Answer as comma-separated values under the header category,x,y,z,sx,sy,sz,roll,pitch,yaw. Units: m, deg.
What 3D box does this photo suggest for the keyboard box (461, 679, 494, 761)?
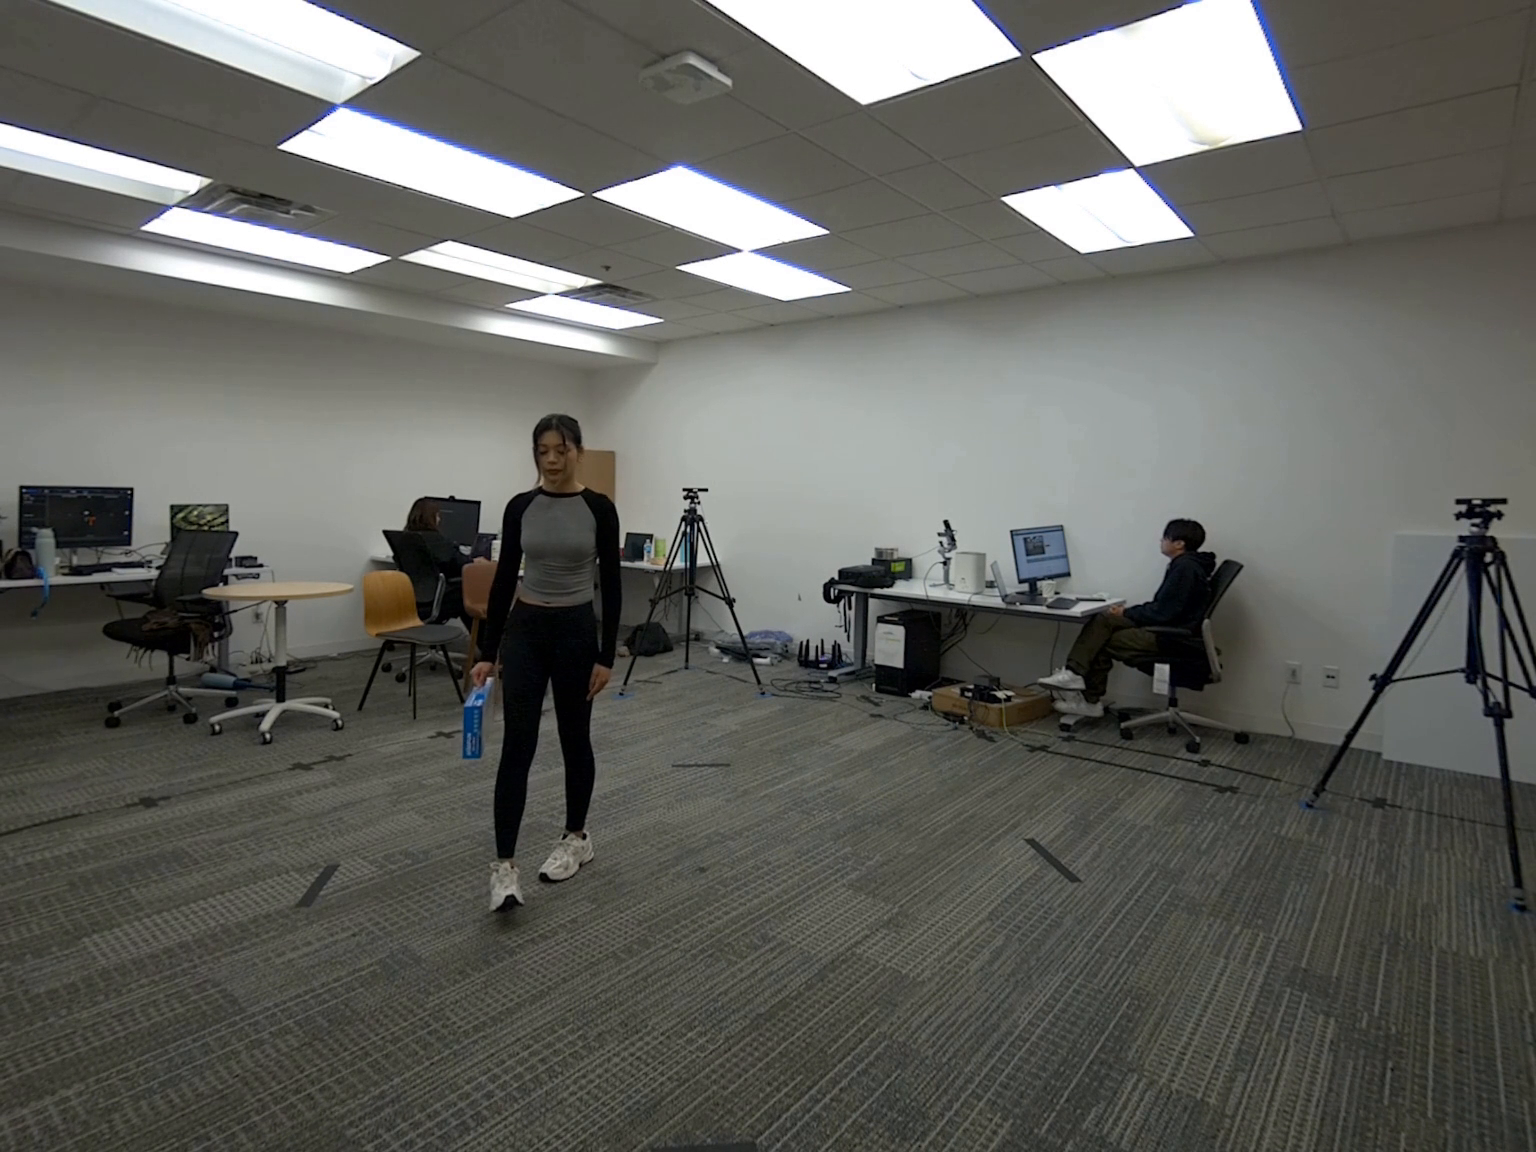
category,x,y,z,sx,sy,sz,roll,pitch,yaw
keyboard box,-1.004,0.475,2.942,0.058,0.175,0.443,1,6,-12
